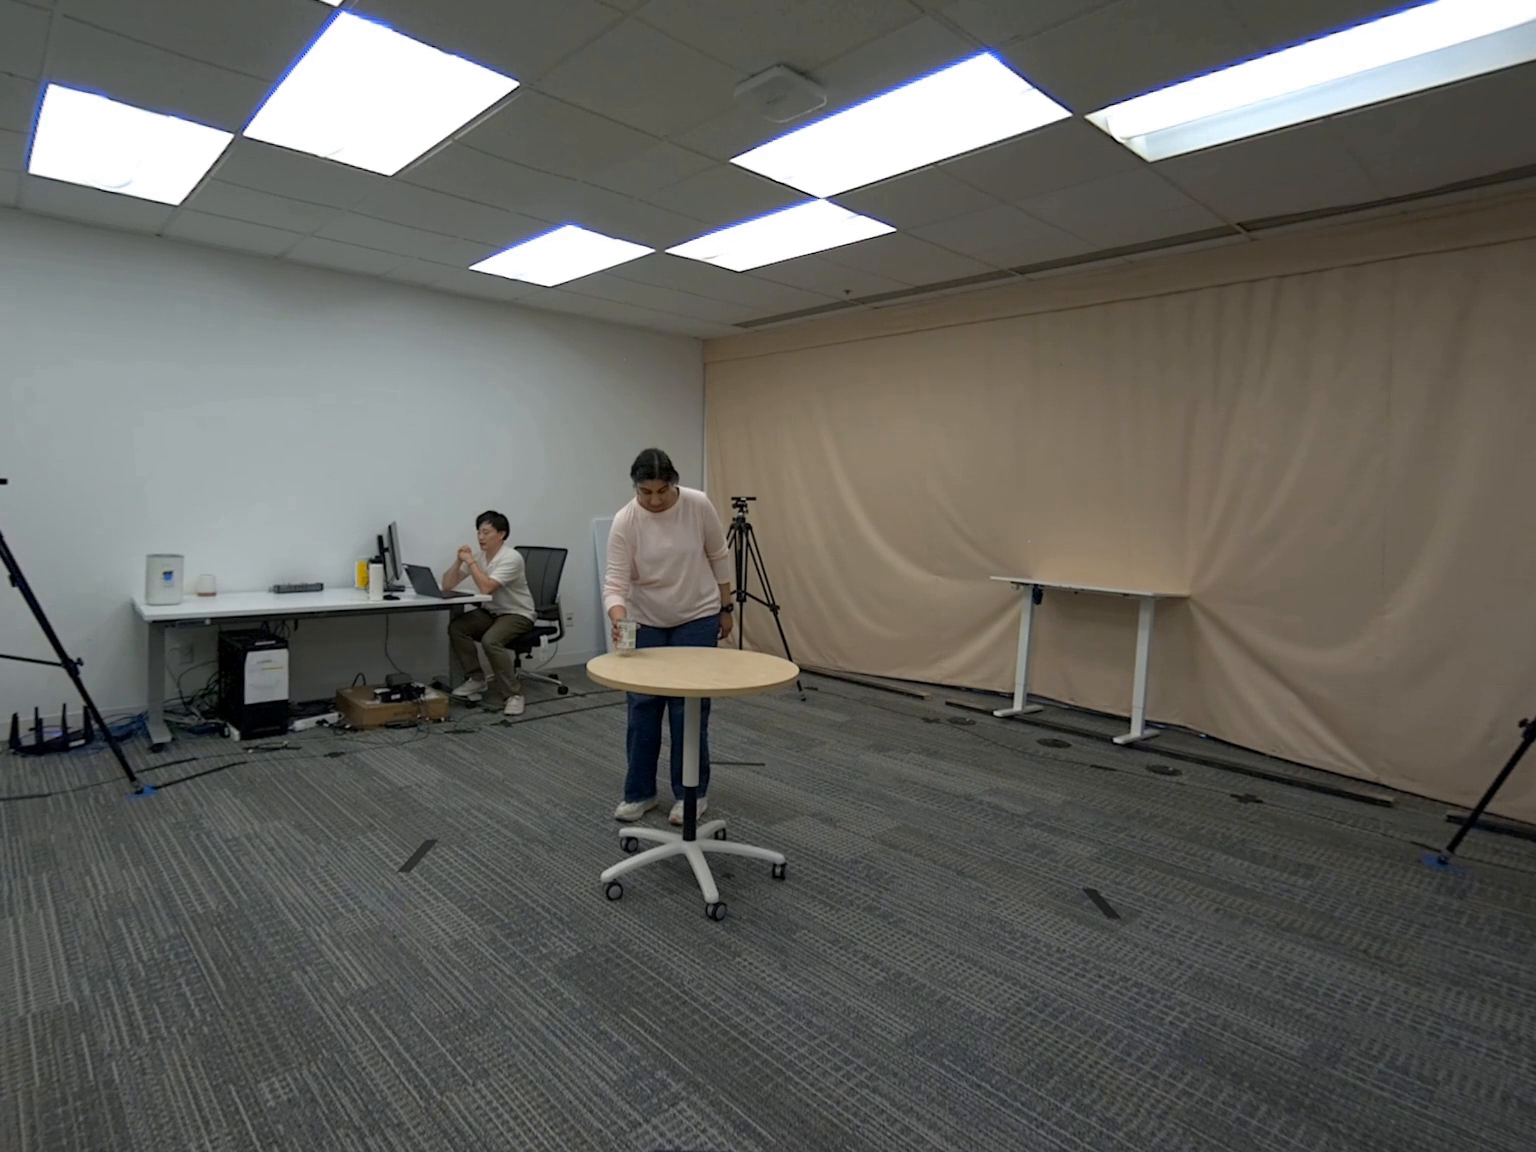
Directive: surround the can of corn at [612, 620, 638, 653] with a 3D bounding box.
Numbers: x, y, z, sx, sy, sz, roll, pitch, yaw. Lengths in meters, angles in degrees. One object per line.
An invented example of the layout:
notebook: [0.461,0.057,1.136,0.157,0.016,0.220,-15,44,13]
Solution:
can of corn: [-0.558,0.223,3.185,0.074,0.111,0.074,4,2,-2]
